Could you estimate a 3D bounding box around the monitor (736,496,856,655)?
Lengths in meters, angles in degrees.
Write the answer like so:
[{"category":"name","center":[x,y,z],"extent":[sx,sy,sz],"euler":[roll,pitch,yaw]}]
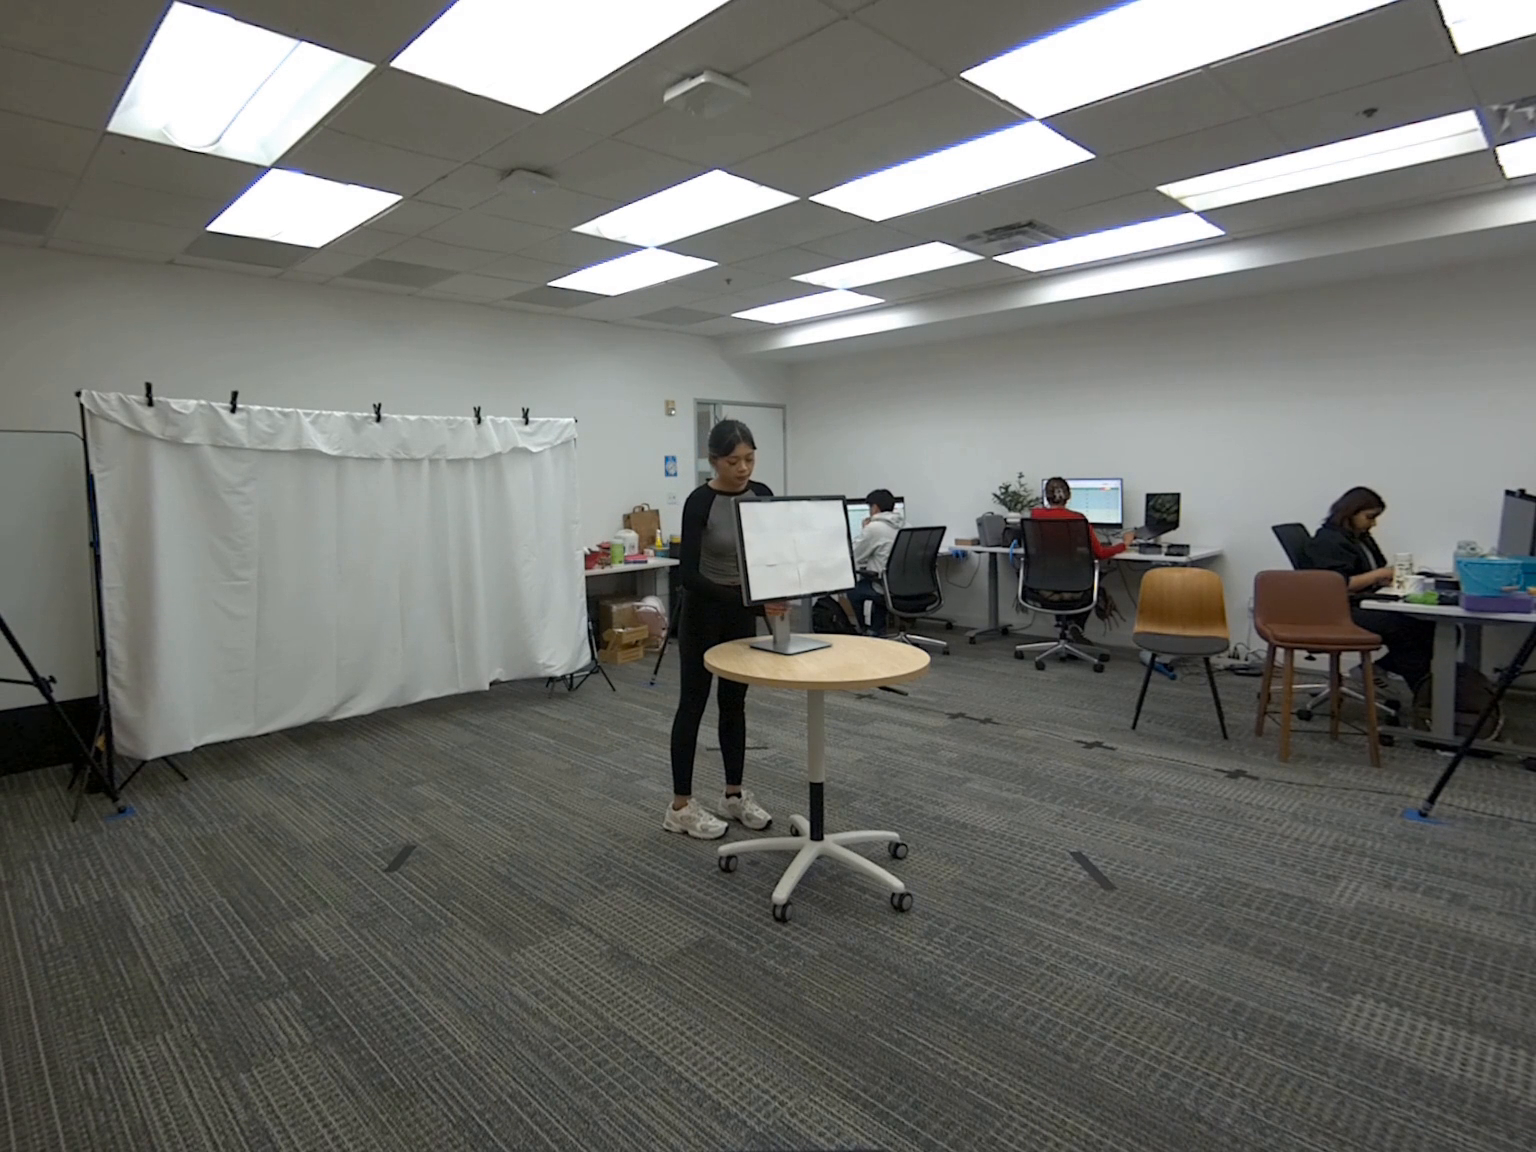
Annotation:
[{"category":"monitor","center":[0.078,-0.009,3.050],"extent":[0.193,0.520,0.525],"euler":[6,8,44]}]
